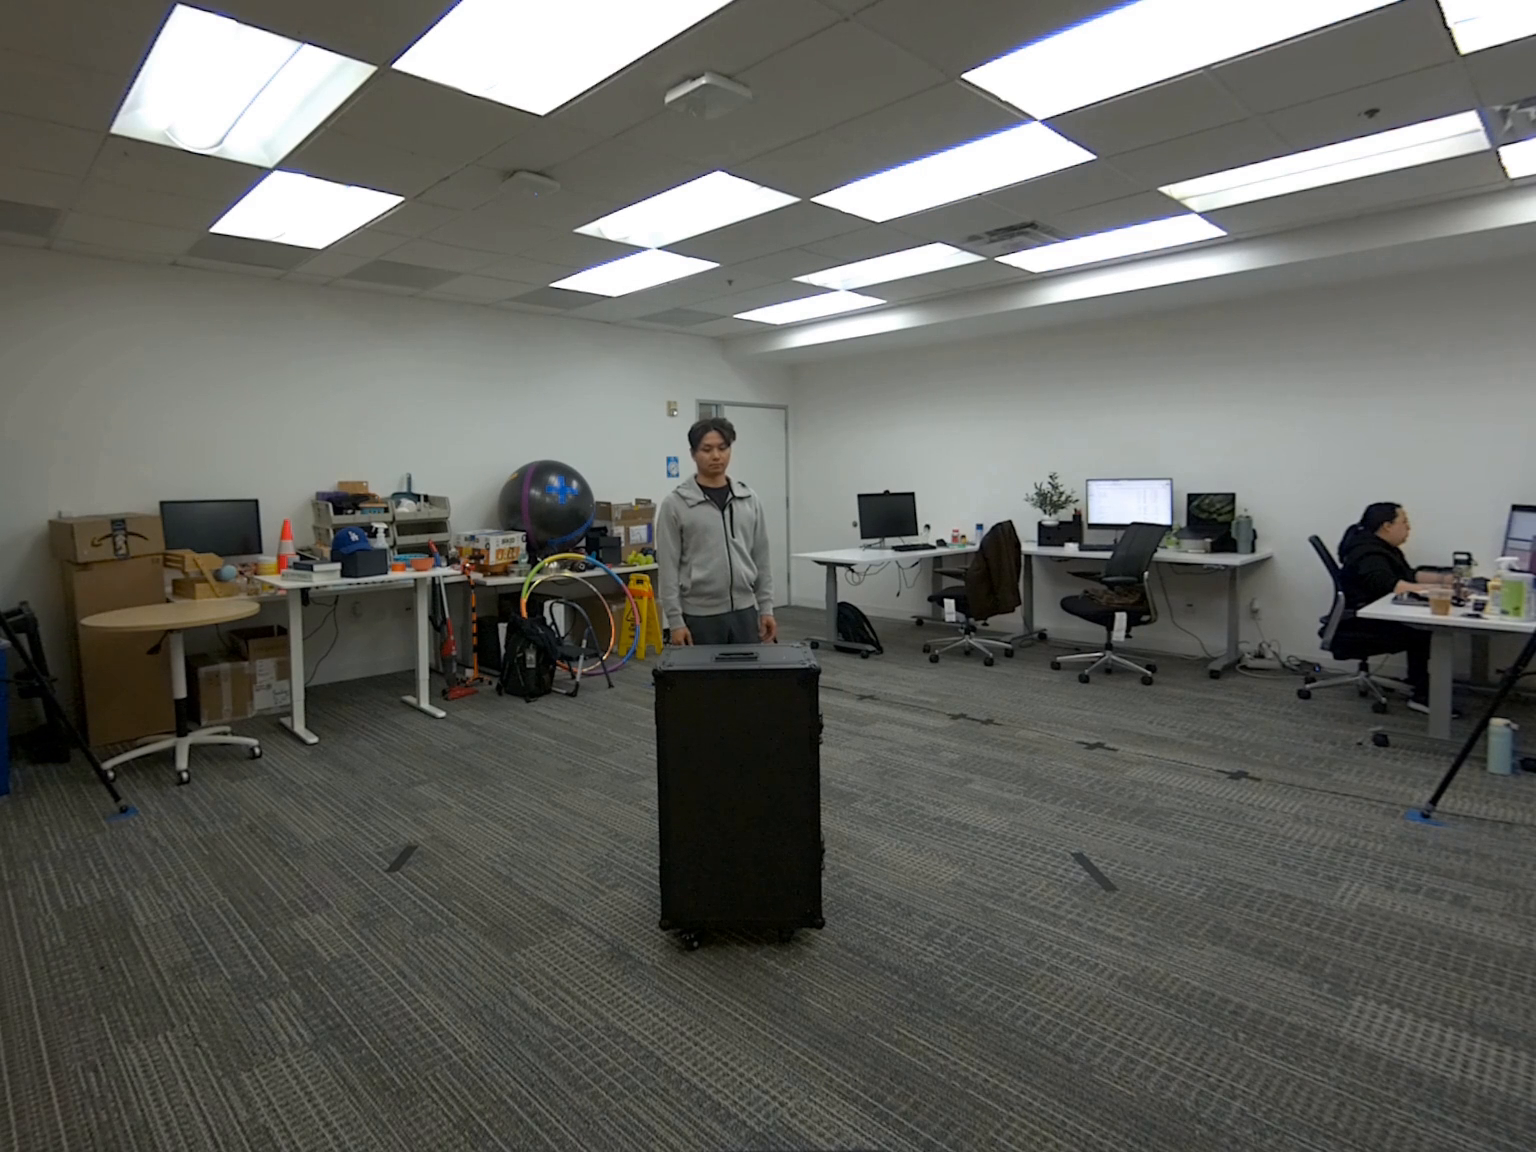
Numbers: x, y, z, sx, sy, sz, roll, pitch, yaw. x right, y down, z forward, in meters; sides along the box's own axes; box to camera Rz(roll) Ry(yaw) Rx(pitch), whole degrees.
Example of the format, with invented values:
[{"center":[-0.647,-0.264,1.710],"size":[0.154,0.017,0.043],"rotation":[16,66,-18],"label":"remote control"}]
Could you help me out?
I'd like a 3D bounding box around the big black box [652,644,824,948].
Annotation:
[{"center":[-0.095,0.677,2.682],"size":[0.521,0.859,0.397],"rotation":[-2,3,0],"label":"big black box"}]
